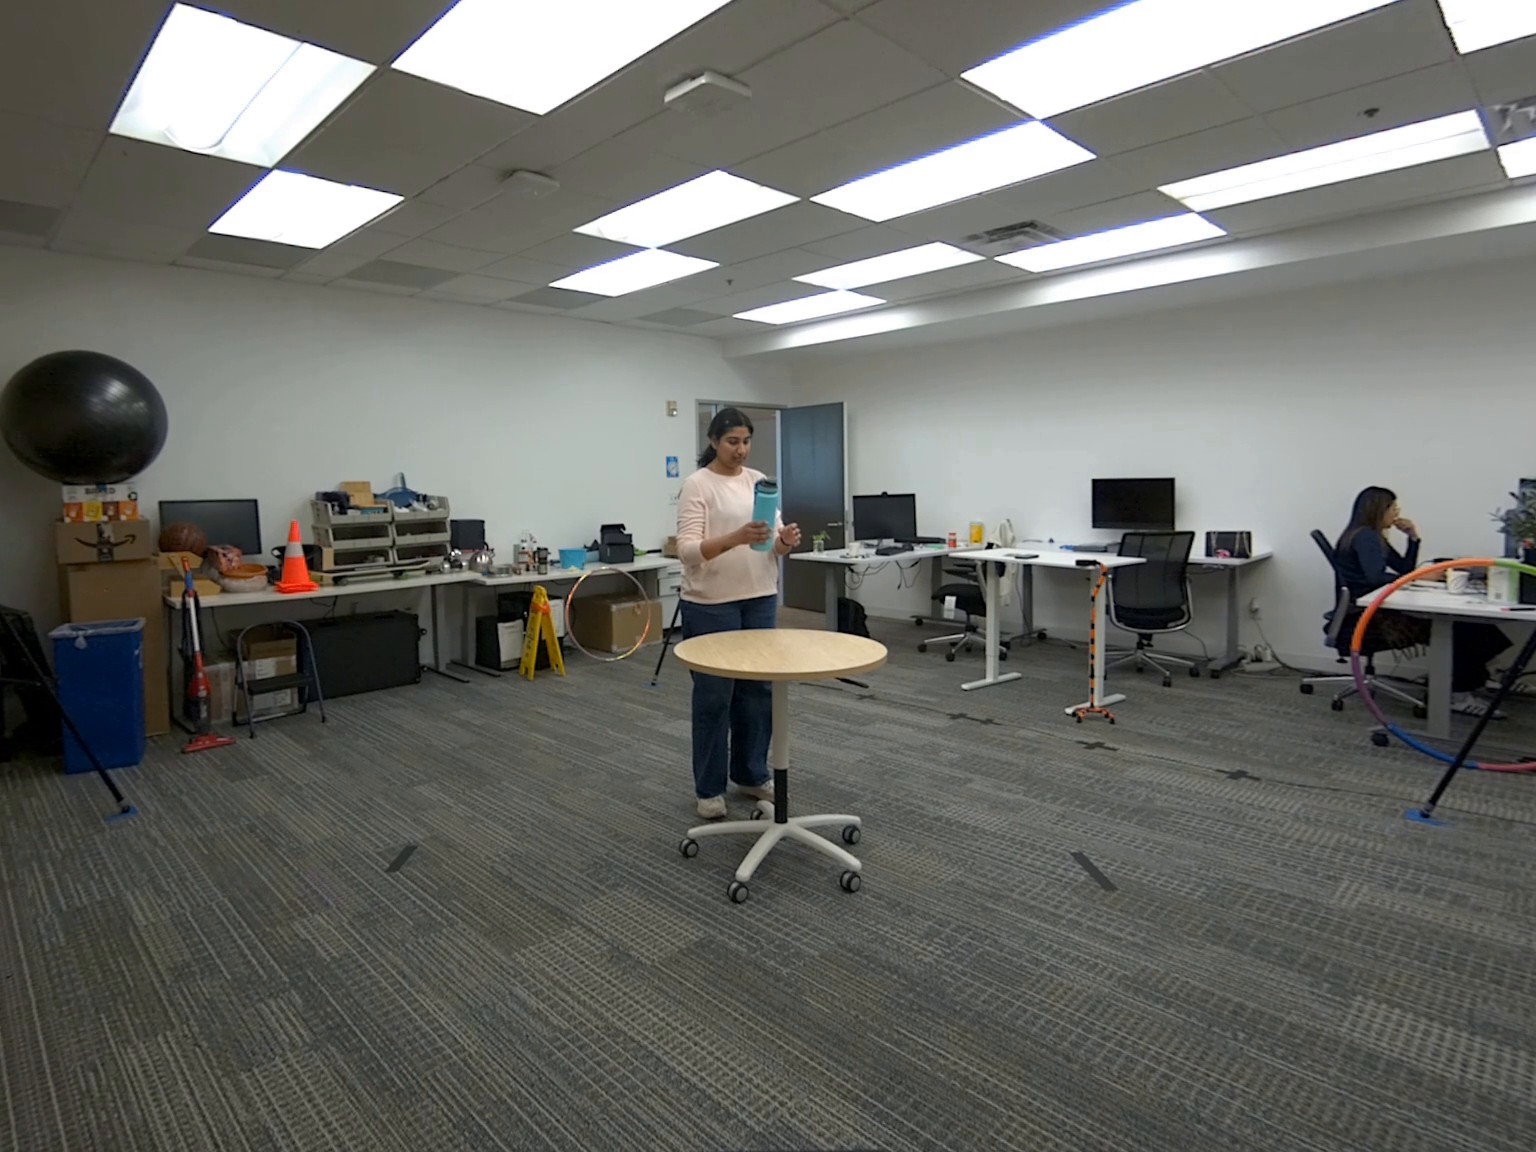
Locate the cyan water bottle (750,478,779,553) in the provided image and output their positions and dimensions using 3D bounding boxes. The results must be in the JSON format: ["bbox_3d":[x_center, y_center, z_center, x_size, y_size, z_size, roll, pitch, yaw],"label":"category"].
[{"bbox_3d":[-0.020,-0.245,3.282,0.092,0.279,0.094,3,18,-3],"label":"cyan water bottle"}]
